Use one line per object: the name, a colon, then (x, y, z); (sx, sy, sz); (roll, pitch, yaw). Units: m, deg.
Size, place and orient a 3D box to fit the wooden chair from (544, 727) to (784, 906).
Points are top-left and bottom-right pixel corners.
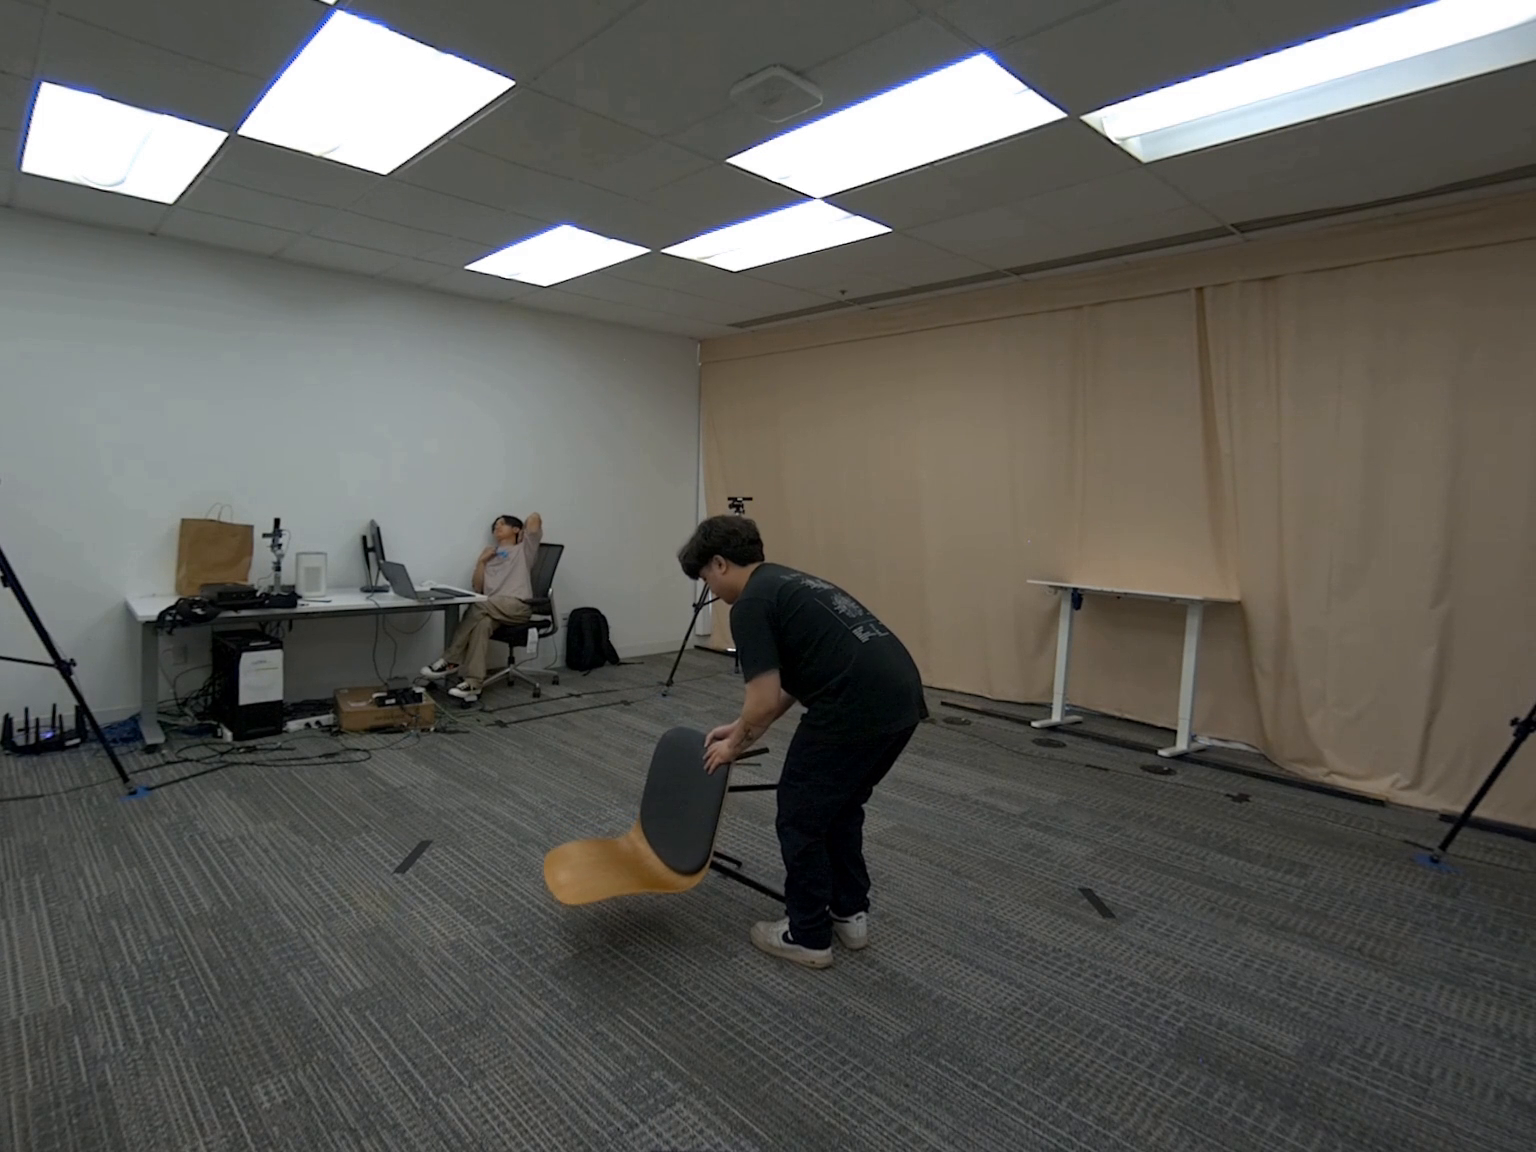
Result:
wooden chair: (-0.265, 0.792, 2.803); (0.855, 0.524, 0.490); (12, -2, -34)
